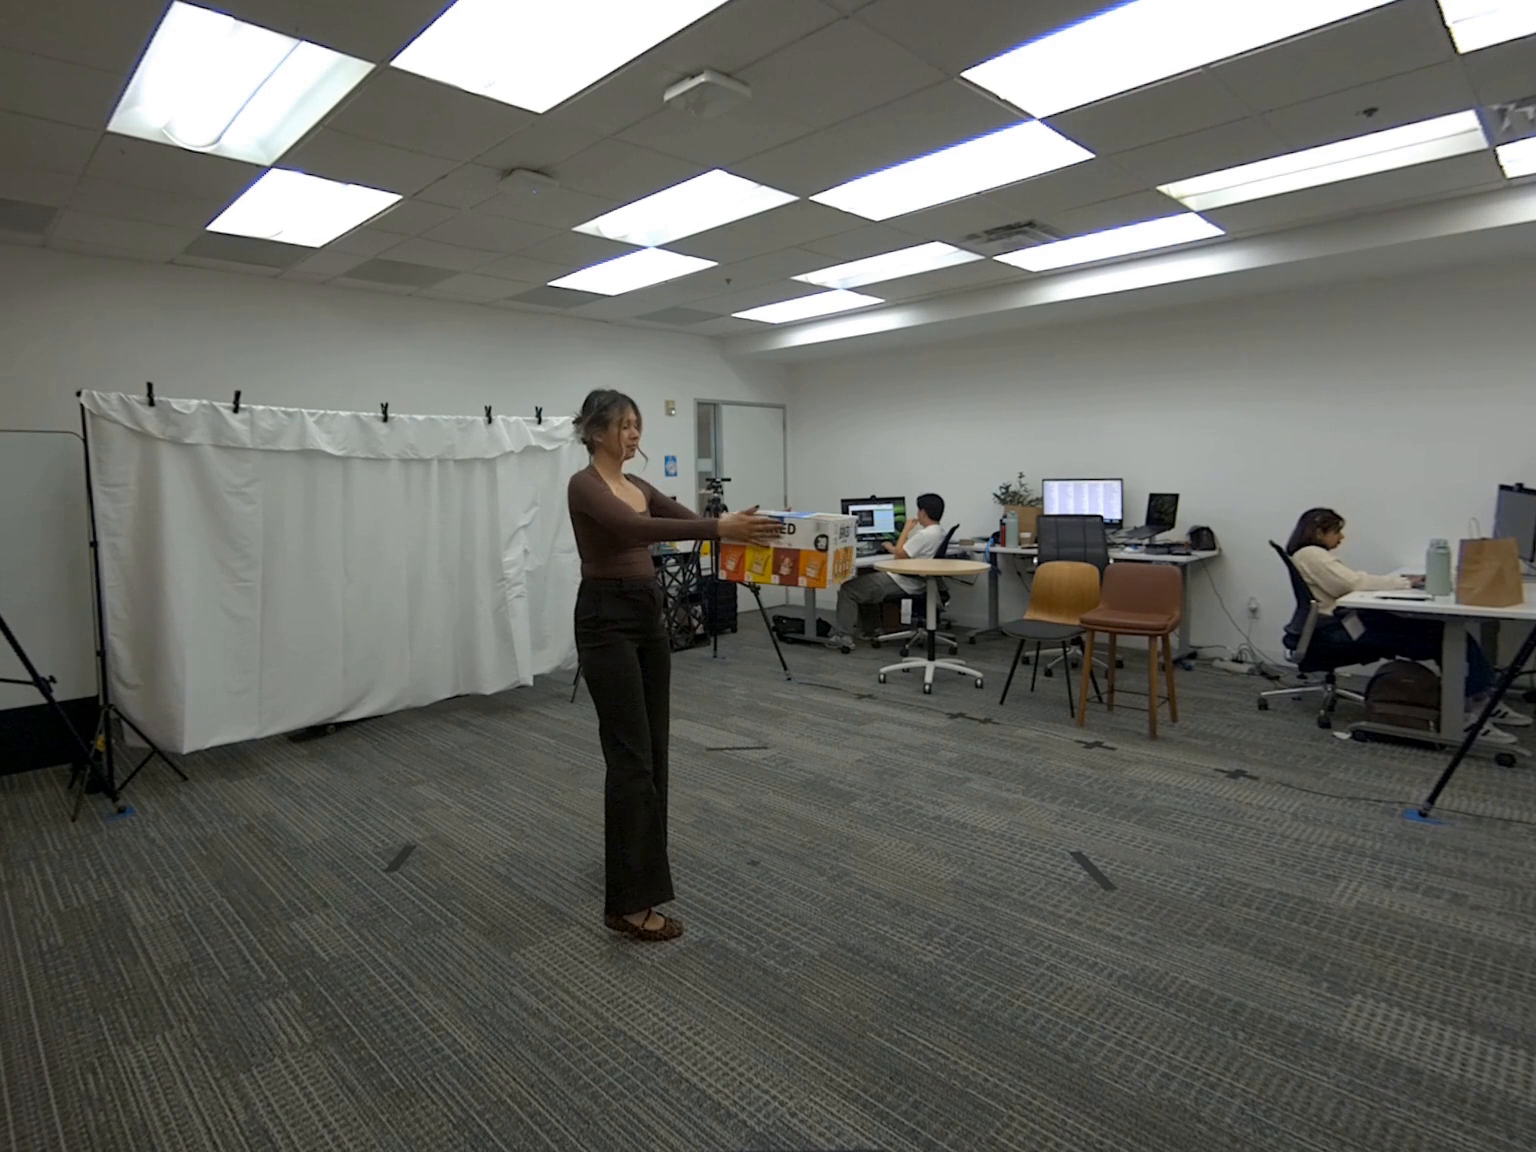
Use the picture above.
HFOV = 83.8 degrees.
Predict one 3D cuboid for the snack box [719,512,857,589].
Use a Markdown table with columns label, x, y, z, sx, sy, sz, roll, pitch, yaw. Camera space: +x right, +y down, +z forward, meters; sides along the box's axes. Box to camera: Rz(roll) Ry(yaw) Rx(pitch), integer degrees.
| label | x | y | z | sx | sy | sz | roll | pitch | yaw |
| --- | --- | --- | --- | --- | --- | --- | --- | --- | --- |
| snack box | 0.056 | -0.089 | 2.711 | 0.347 | 0.205 | 0.399 | 5 | 6 | 18 |
